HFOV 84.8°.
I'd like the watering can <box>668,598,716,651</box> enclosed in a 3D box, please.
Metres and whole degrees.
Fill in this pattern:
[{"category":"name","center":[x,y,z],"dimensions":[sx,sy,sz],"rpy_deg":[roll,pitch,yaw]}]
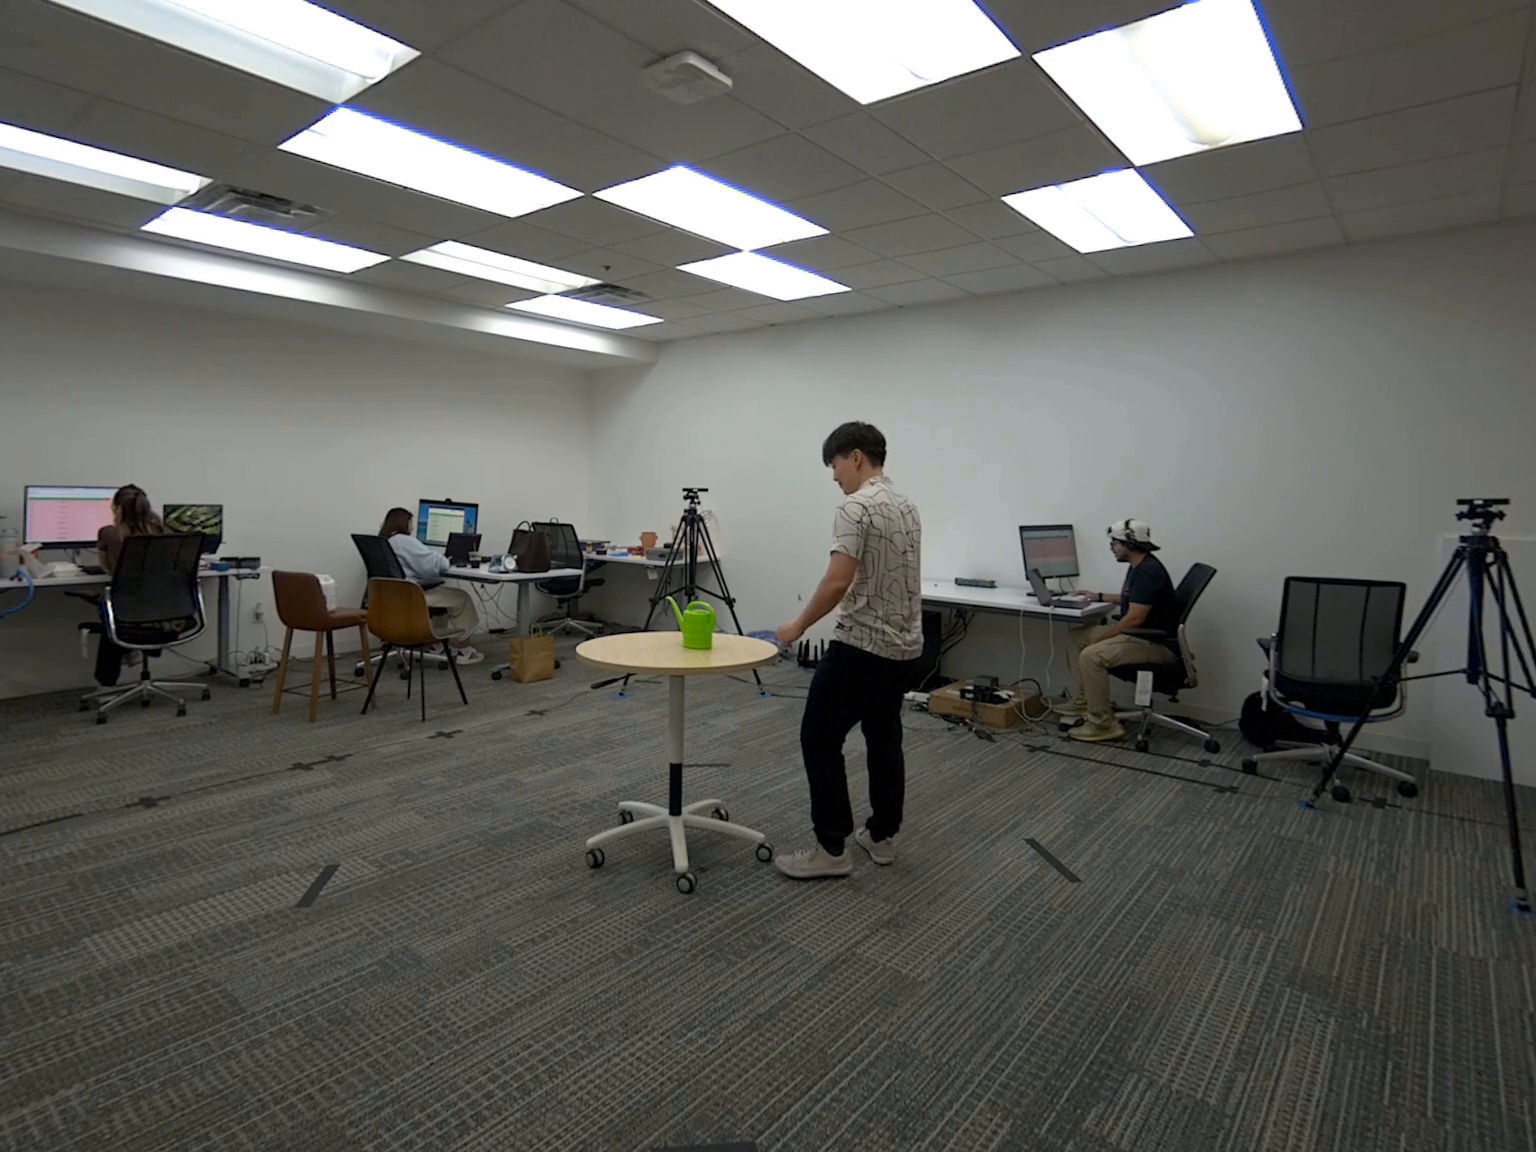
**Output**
[{"category":"watering can","center":[-0.304,0.177,3.295],"dimensions":[0.095,0.176,0.287],"rpy_deg":[0,6,-32]}]
